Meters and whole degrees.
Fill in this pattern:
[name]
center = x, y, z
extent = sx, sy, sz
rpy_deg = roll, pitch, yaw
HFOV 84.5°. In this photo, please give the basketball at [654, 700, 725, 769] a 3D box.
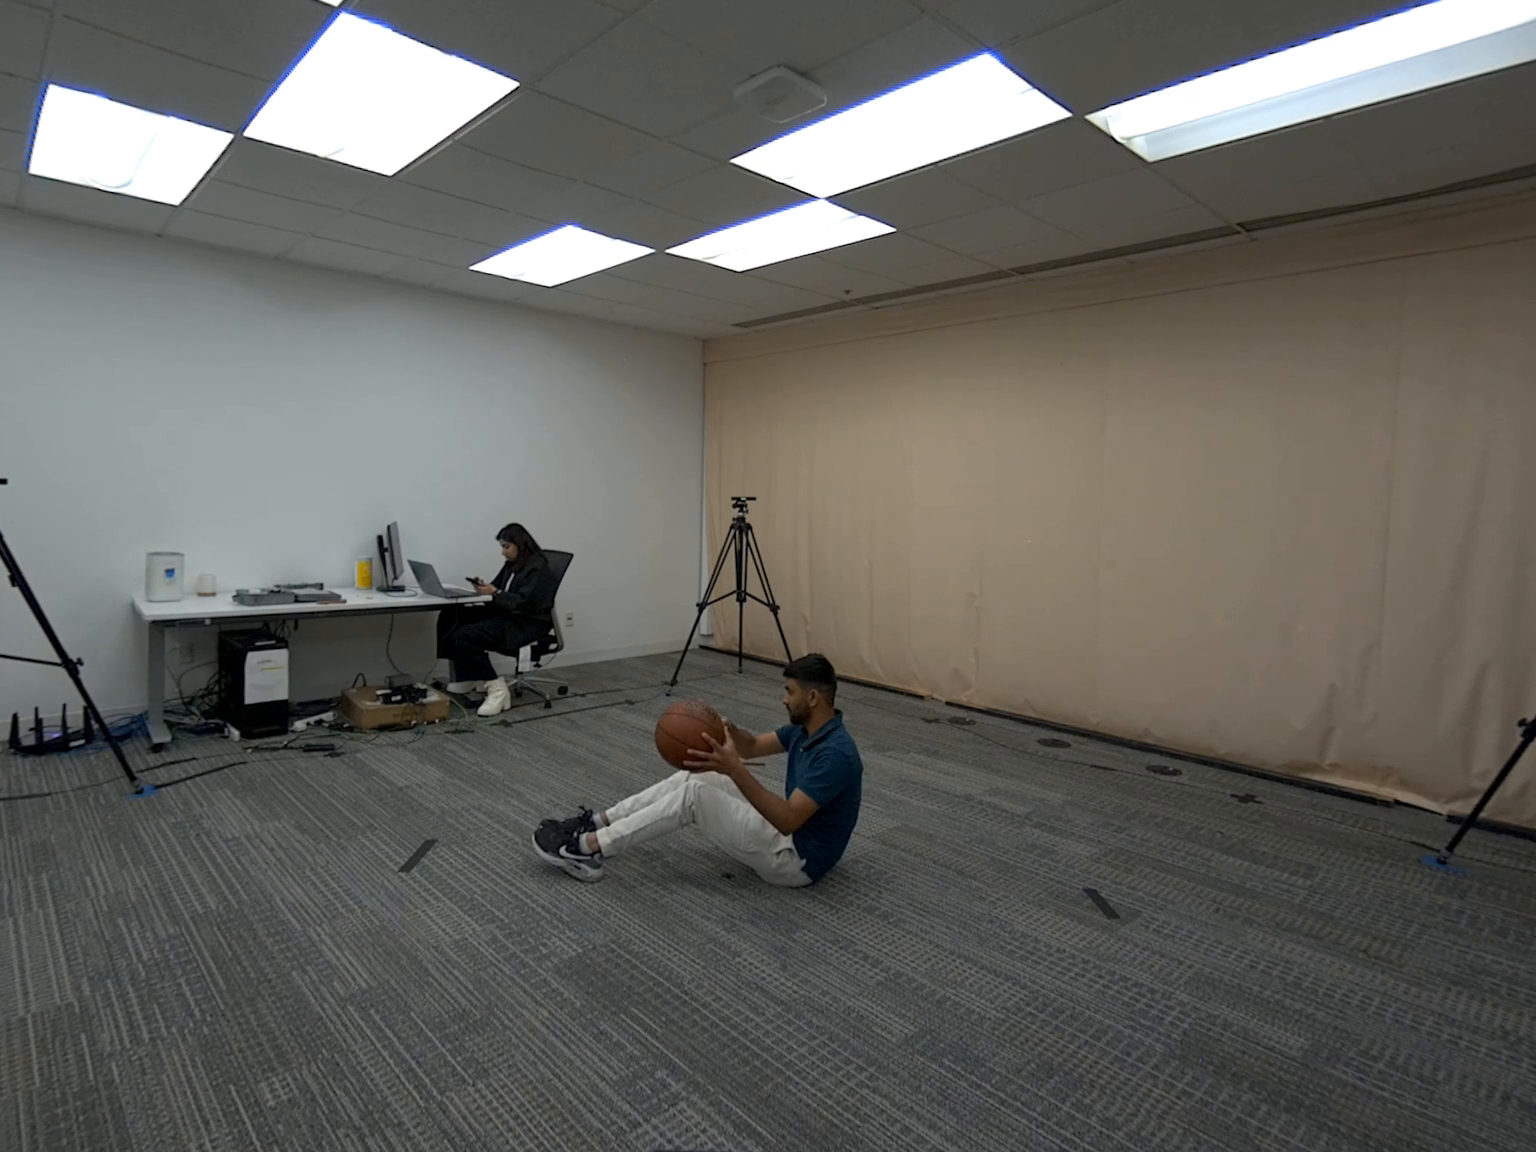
[basketball]
center = -0.275, 0.543, 2.889
extent = 0.236, 0.235, 0.237
rpy_deg = 1, 4, -1
